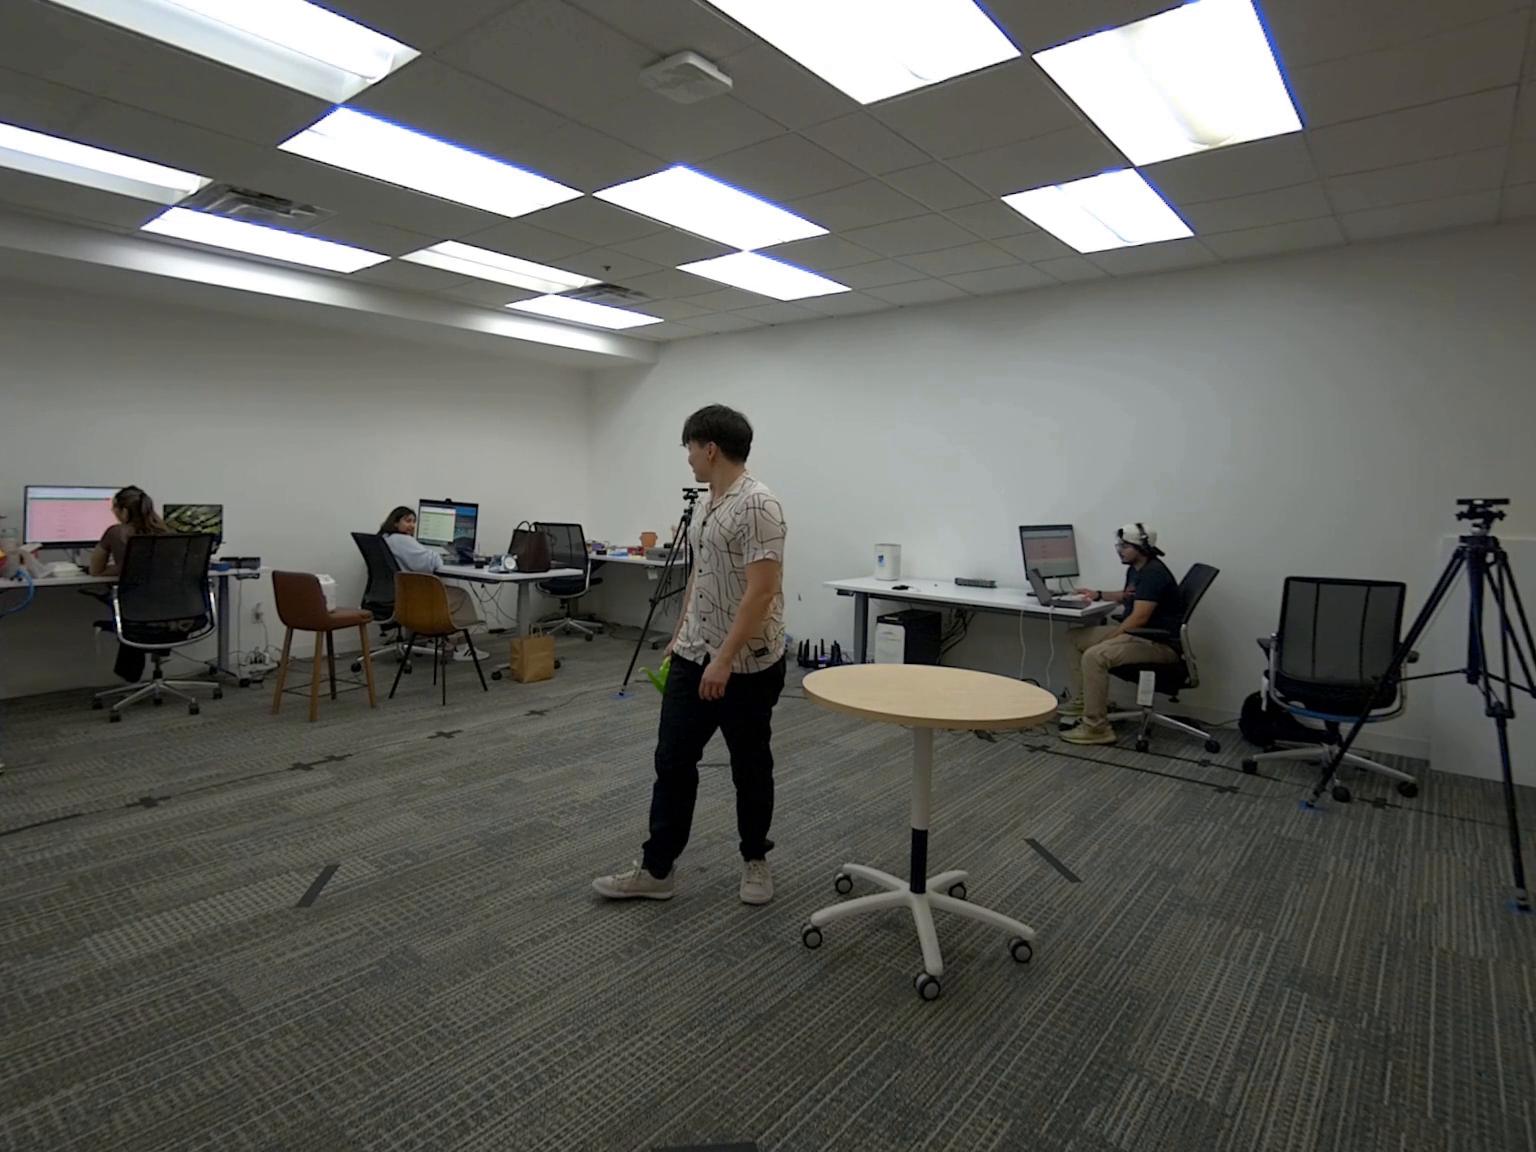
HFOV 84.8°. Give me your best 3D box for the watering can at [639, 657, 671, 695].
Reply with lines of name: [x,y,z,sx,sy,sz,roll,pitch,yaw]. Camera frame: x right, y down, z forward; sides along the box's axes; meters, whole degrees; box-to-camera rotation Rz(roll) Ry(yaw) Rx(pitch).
watering can: [-0.381,0.375,3.089,0.271,0.175,0.101,-13,12,-44]
